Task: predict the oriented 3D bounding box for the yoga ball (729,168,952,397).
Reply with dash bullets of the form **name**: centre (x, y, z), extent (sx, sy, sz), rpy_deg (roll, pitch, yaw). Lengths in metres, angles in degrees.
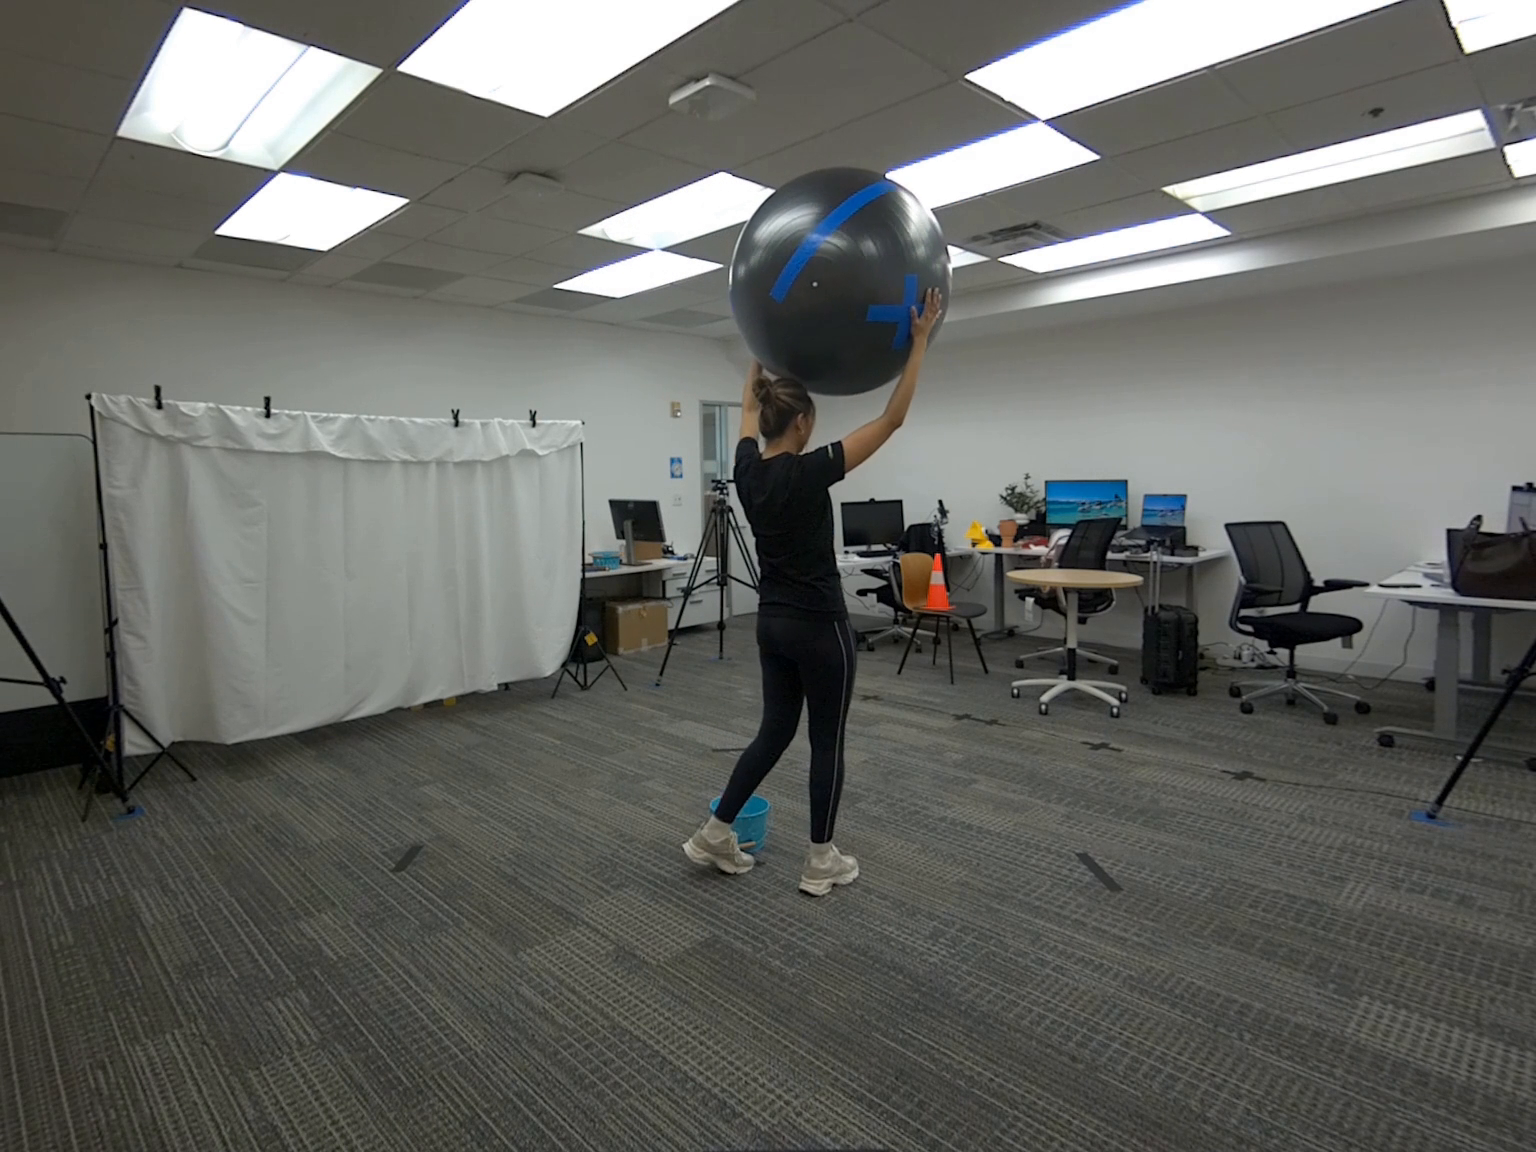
- **yoga ball**: centre (0.243, -1.000, 2.952), extent (0.757, 0.755, 0.762), rpy_deg (-1, 5, -2)
